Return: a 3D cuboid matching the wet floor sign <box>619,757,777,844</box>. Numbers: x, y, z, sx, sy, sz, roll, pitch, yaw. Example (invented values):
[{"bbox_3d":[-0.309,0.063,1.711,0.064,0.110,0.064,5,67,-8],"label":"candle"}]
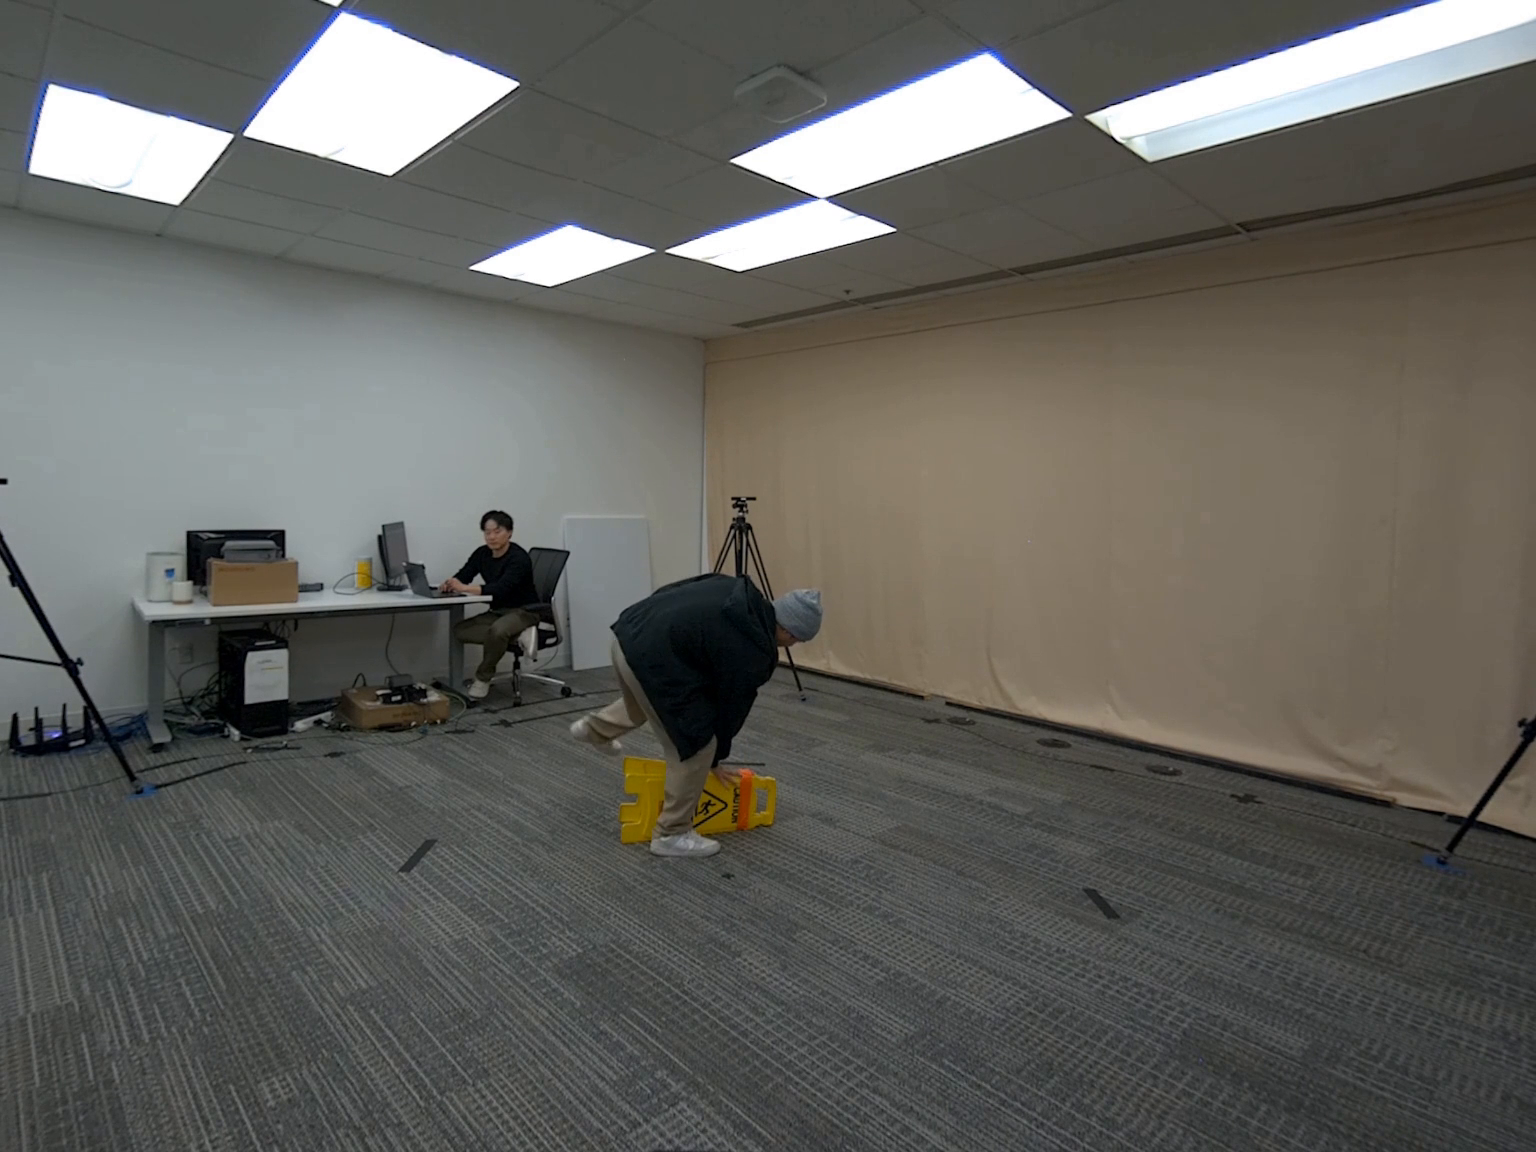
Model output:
[{"bbox_3d":[-0.298,0.941,3.552,0.641,0.282,0.292,3,2,-10],"label":"wet floor sign"}]
